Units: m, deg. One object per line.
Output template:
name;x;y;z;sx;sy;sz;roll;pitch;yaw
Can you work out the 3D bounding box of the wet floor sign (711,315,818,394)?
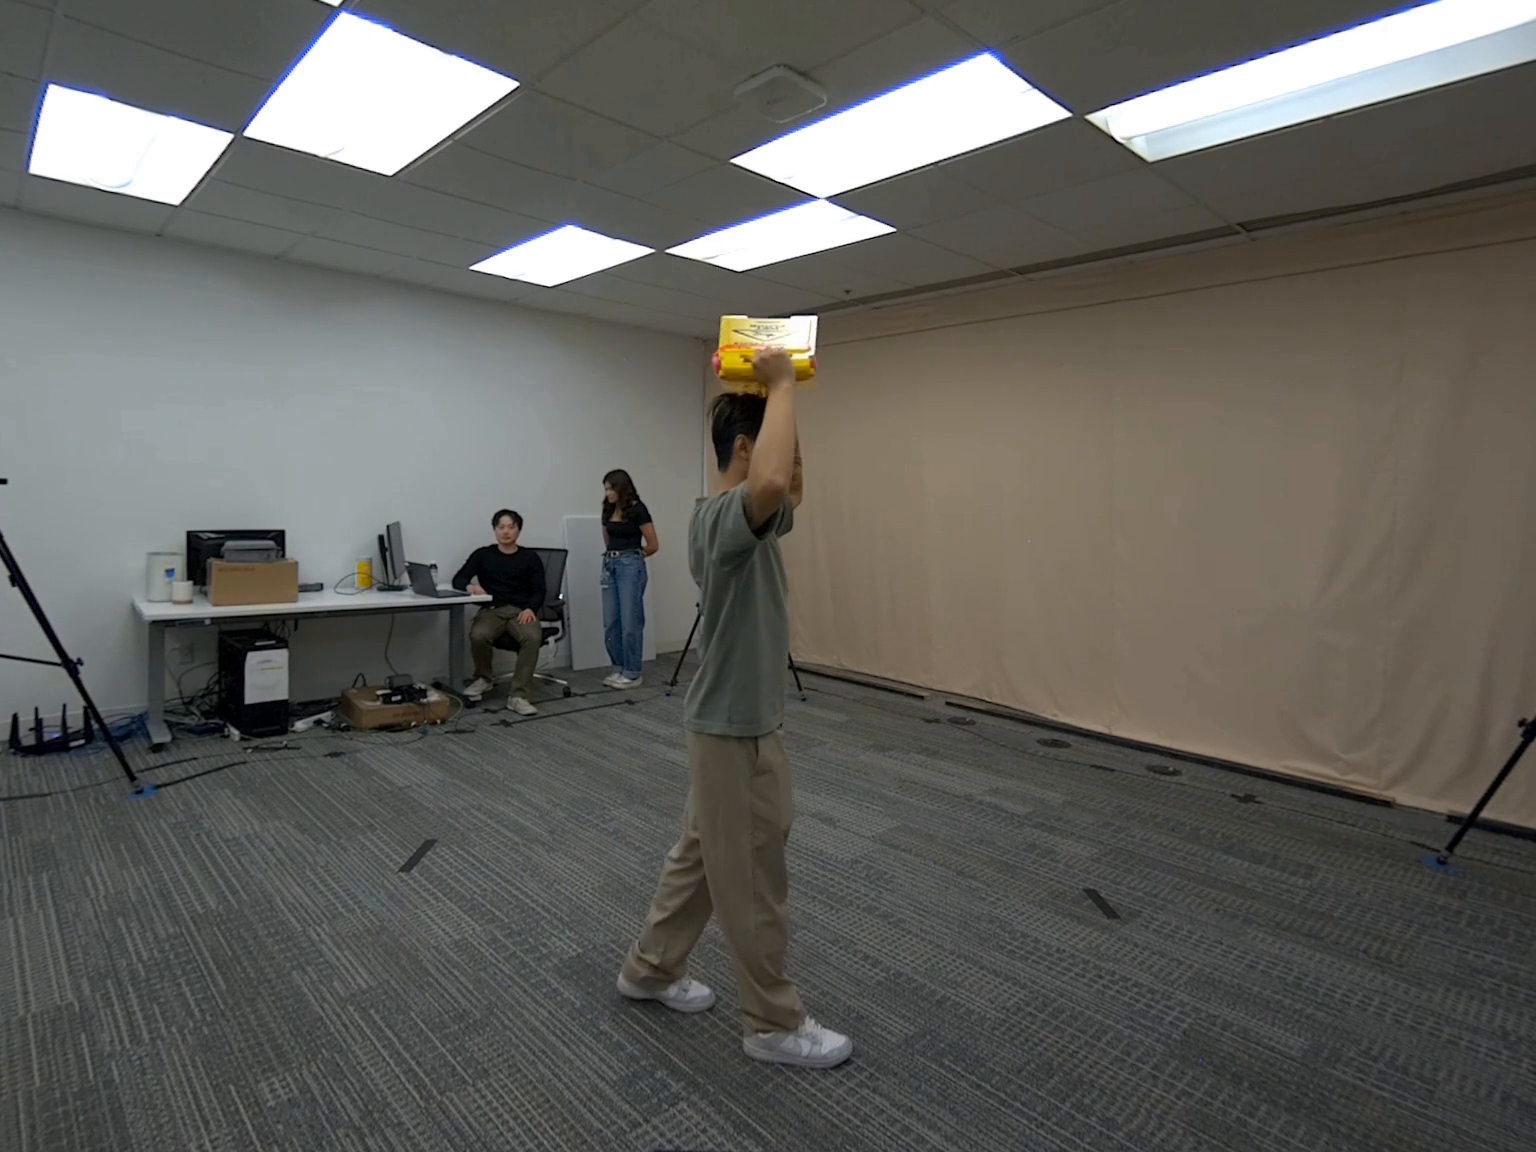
wet floor sign;-0.014;-0.559;2.166;0.283;0.287;0.652;0;15;1
